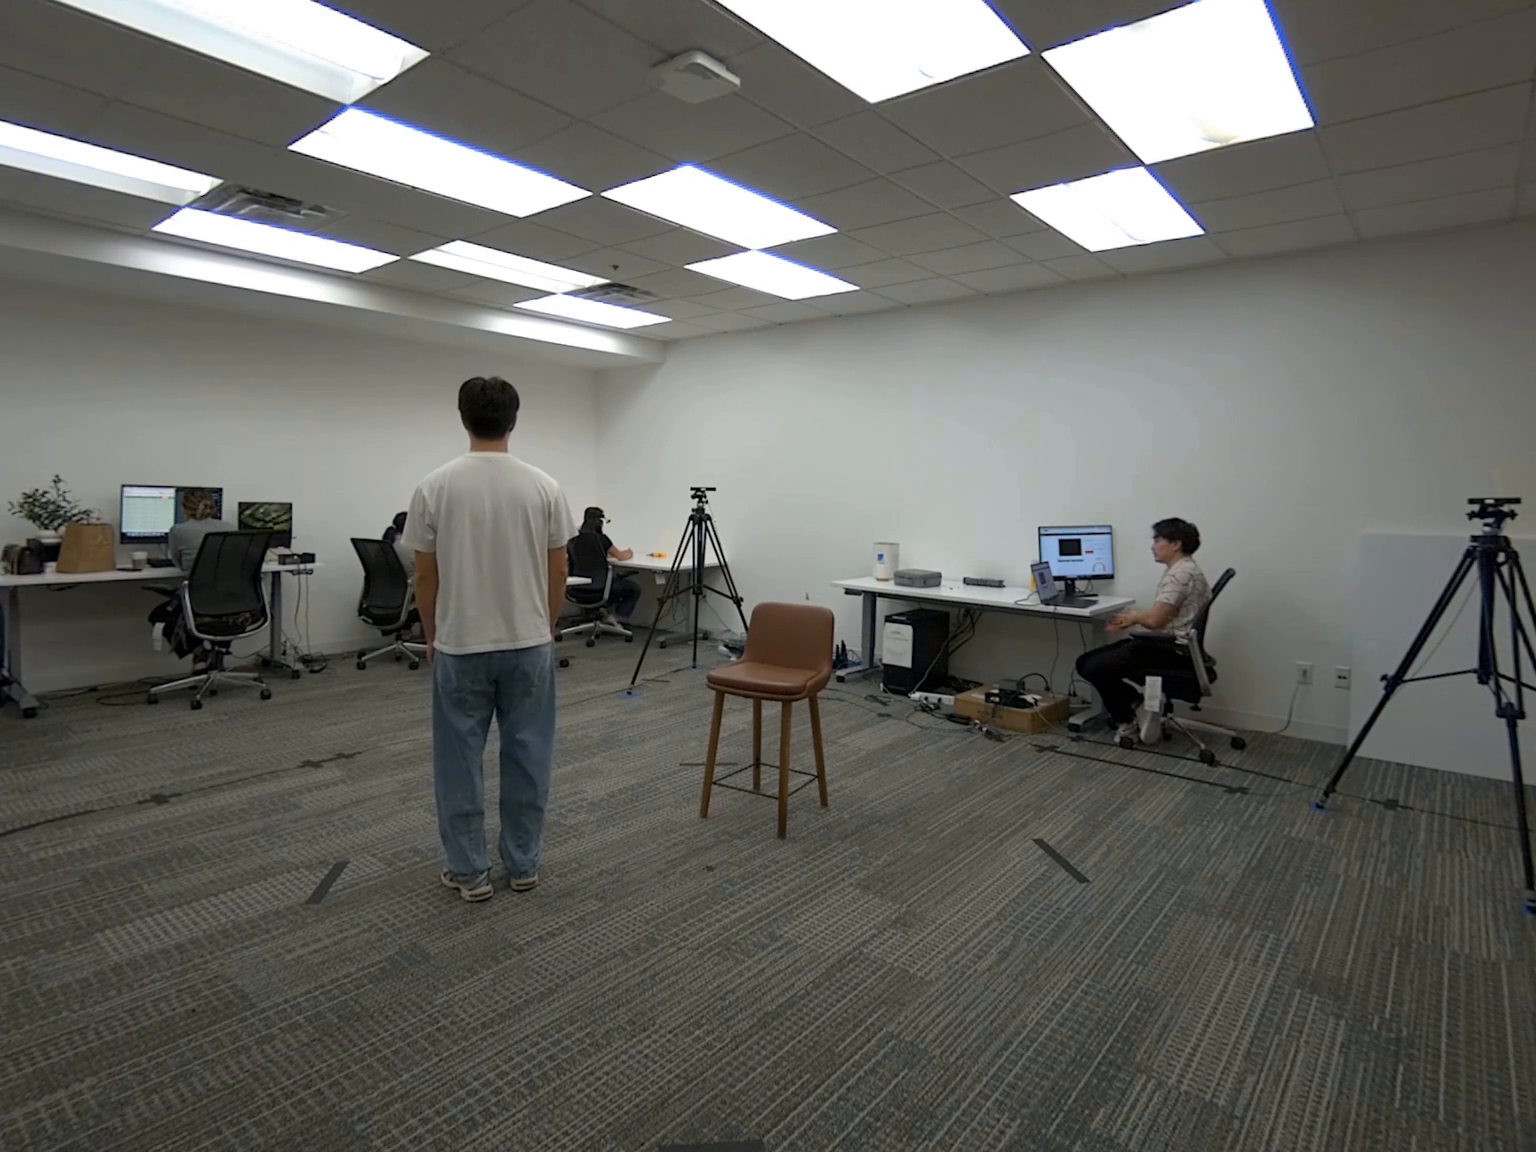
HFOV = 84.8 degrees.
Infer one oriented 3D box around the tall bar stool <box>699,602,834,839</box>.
[{"bbox_3d":[0.001,0.582,3.664,0.470,0.889,0.454,4,2,32],"label":"tall bar stool"}]
